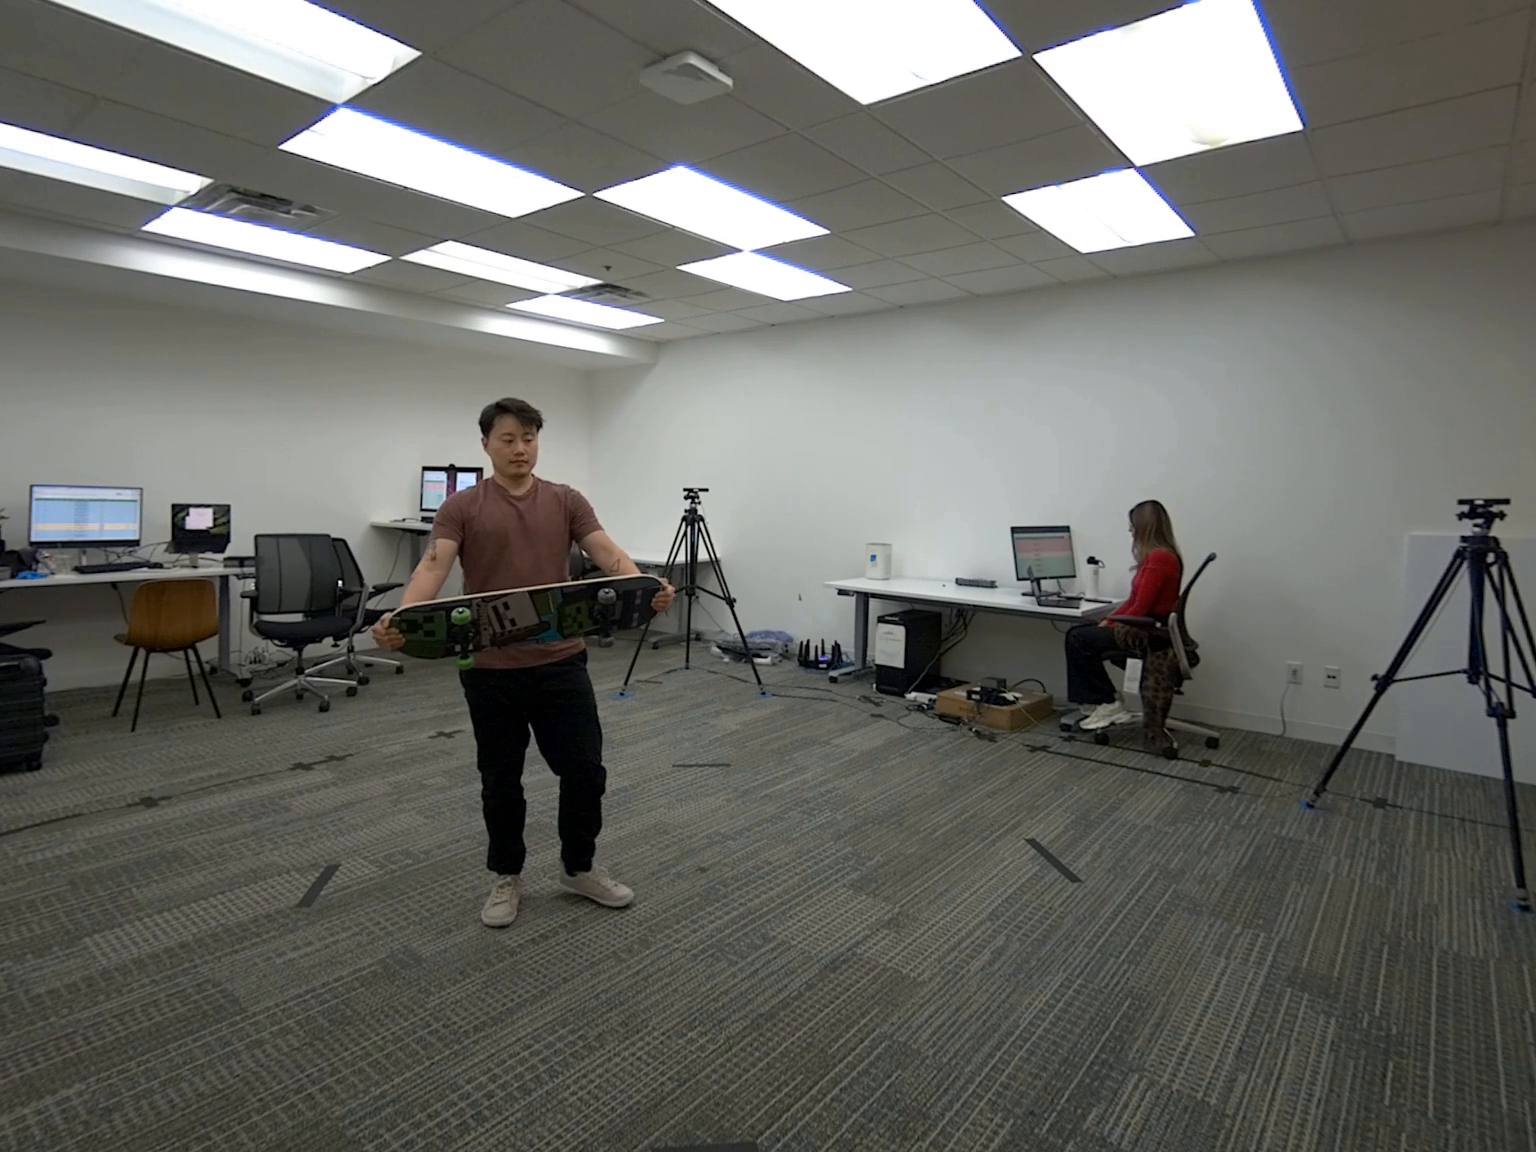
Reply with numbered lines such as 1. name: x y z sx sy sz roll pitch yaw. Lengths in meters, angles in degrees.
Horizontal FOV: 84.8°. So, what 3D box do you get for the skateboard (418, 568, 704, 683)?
1. skateboard: -0.577 0.130 2.408 0.770 0.190 0.115 -7 26 -22
